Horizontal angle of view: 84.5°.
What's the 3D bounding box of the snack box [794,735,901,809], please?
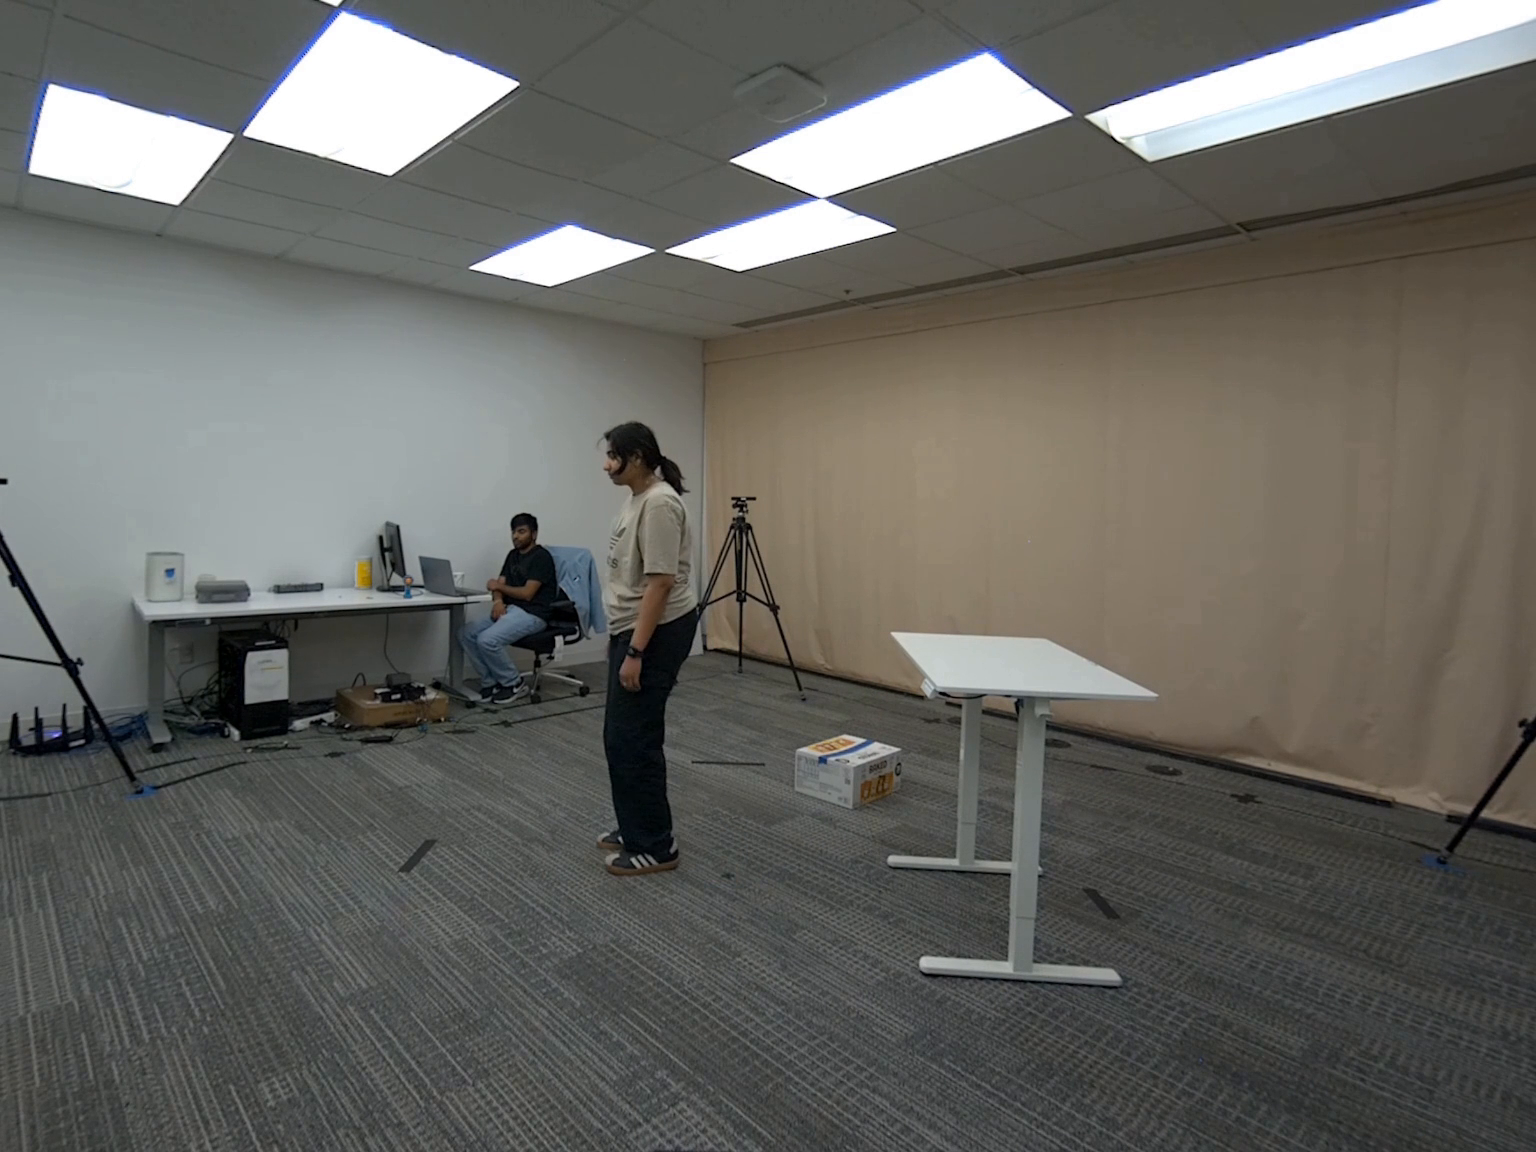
[{"bbox_3d":[0.378,0.937,4.063,0.349,0.205,0.396,5,6,42],"label":"snack box"}]
